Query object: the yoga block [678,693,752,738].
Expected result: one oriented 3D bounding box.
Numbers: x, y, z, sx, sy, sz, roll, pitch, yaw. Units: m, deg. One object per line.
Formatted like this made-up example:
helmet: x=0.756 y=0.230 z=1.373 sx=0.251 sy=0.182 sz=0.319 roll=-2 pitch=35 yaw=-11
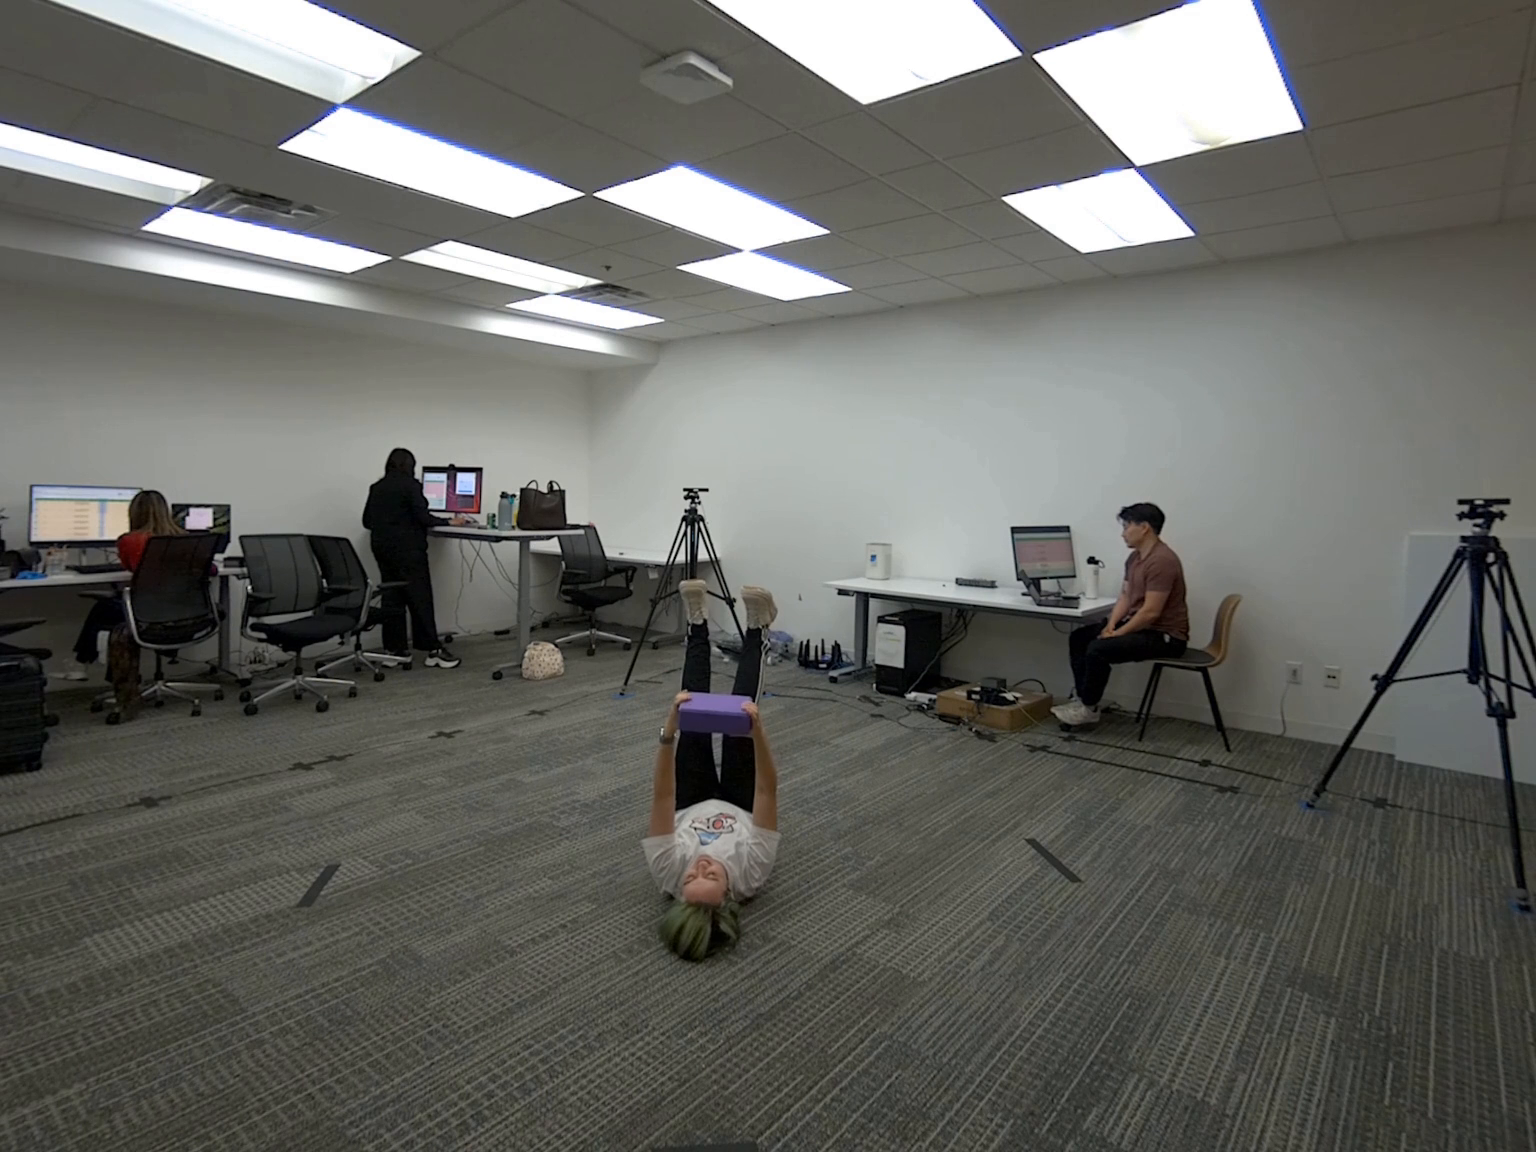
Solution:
yoga block: x=-0.176 y=0.437 z=2.739 sx=0.230 sy=0.075 sz=0.150 roll=2 pitch=12 yaw=3
